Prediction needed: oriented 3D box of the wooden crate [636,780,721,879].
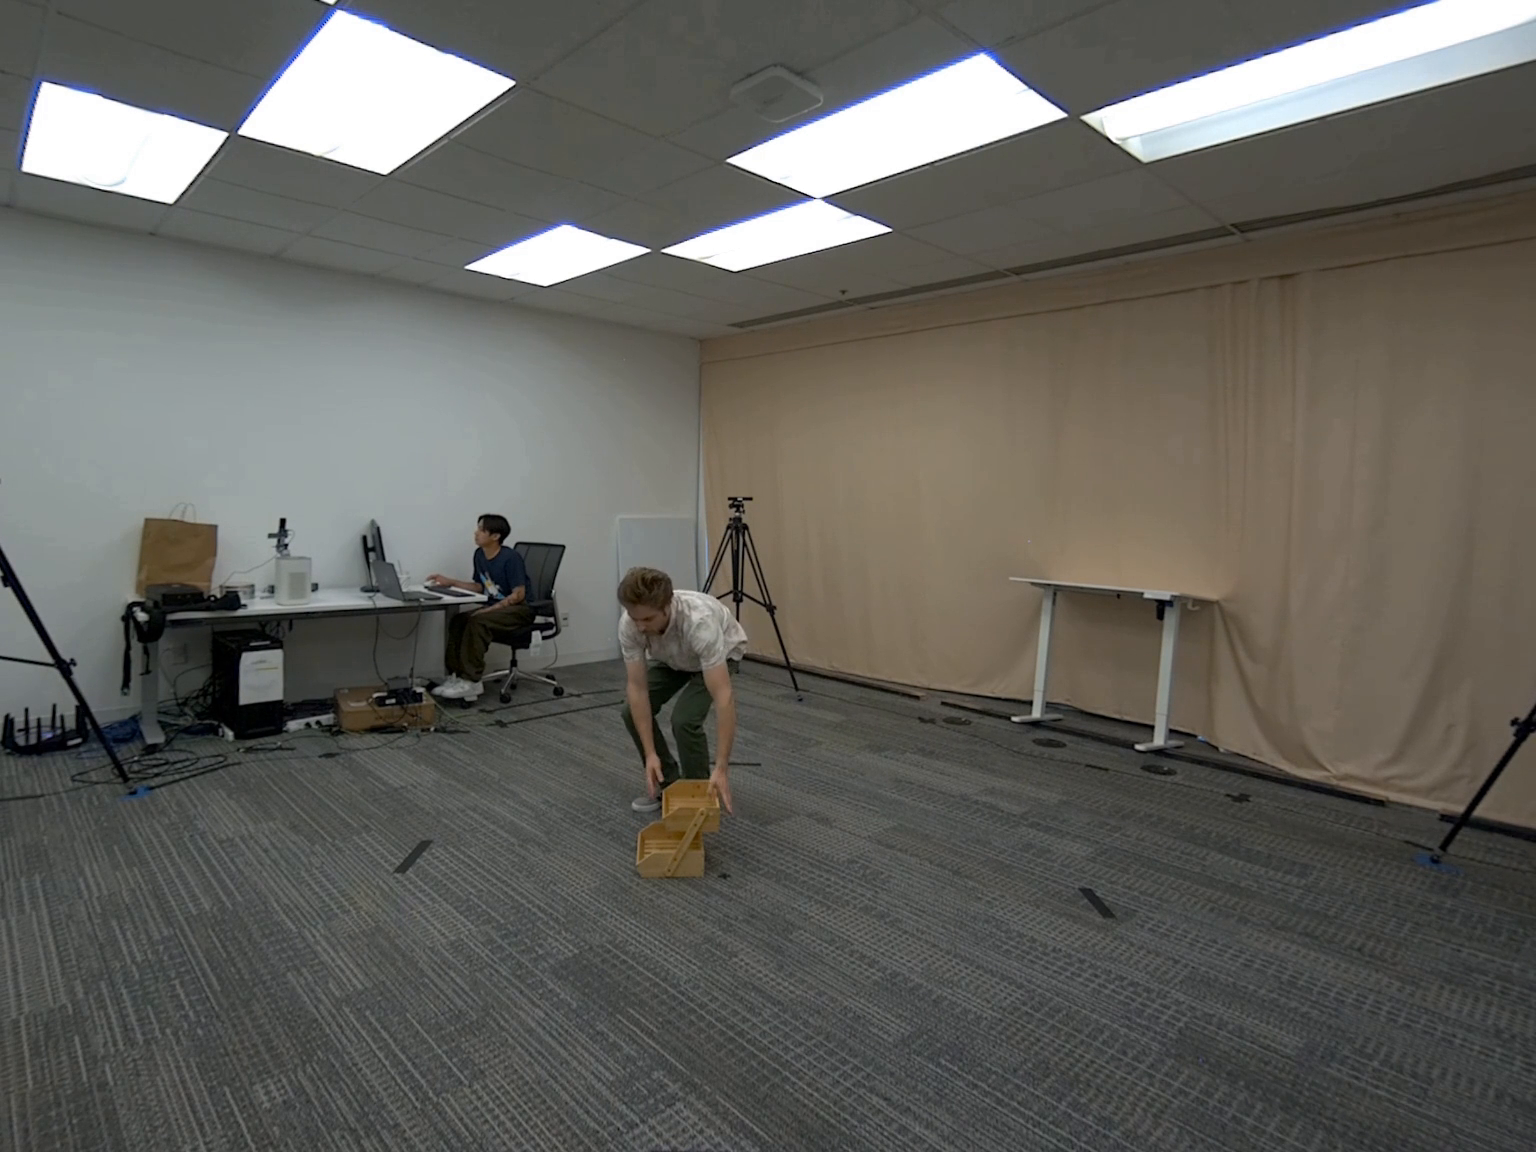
[{"bbox_3d":[-0.363,0.959,3.235,0.300,0.272,0.327,1,4,-6],"label":"wooden crate"}]
